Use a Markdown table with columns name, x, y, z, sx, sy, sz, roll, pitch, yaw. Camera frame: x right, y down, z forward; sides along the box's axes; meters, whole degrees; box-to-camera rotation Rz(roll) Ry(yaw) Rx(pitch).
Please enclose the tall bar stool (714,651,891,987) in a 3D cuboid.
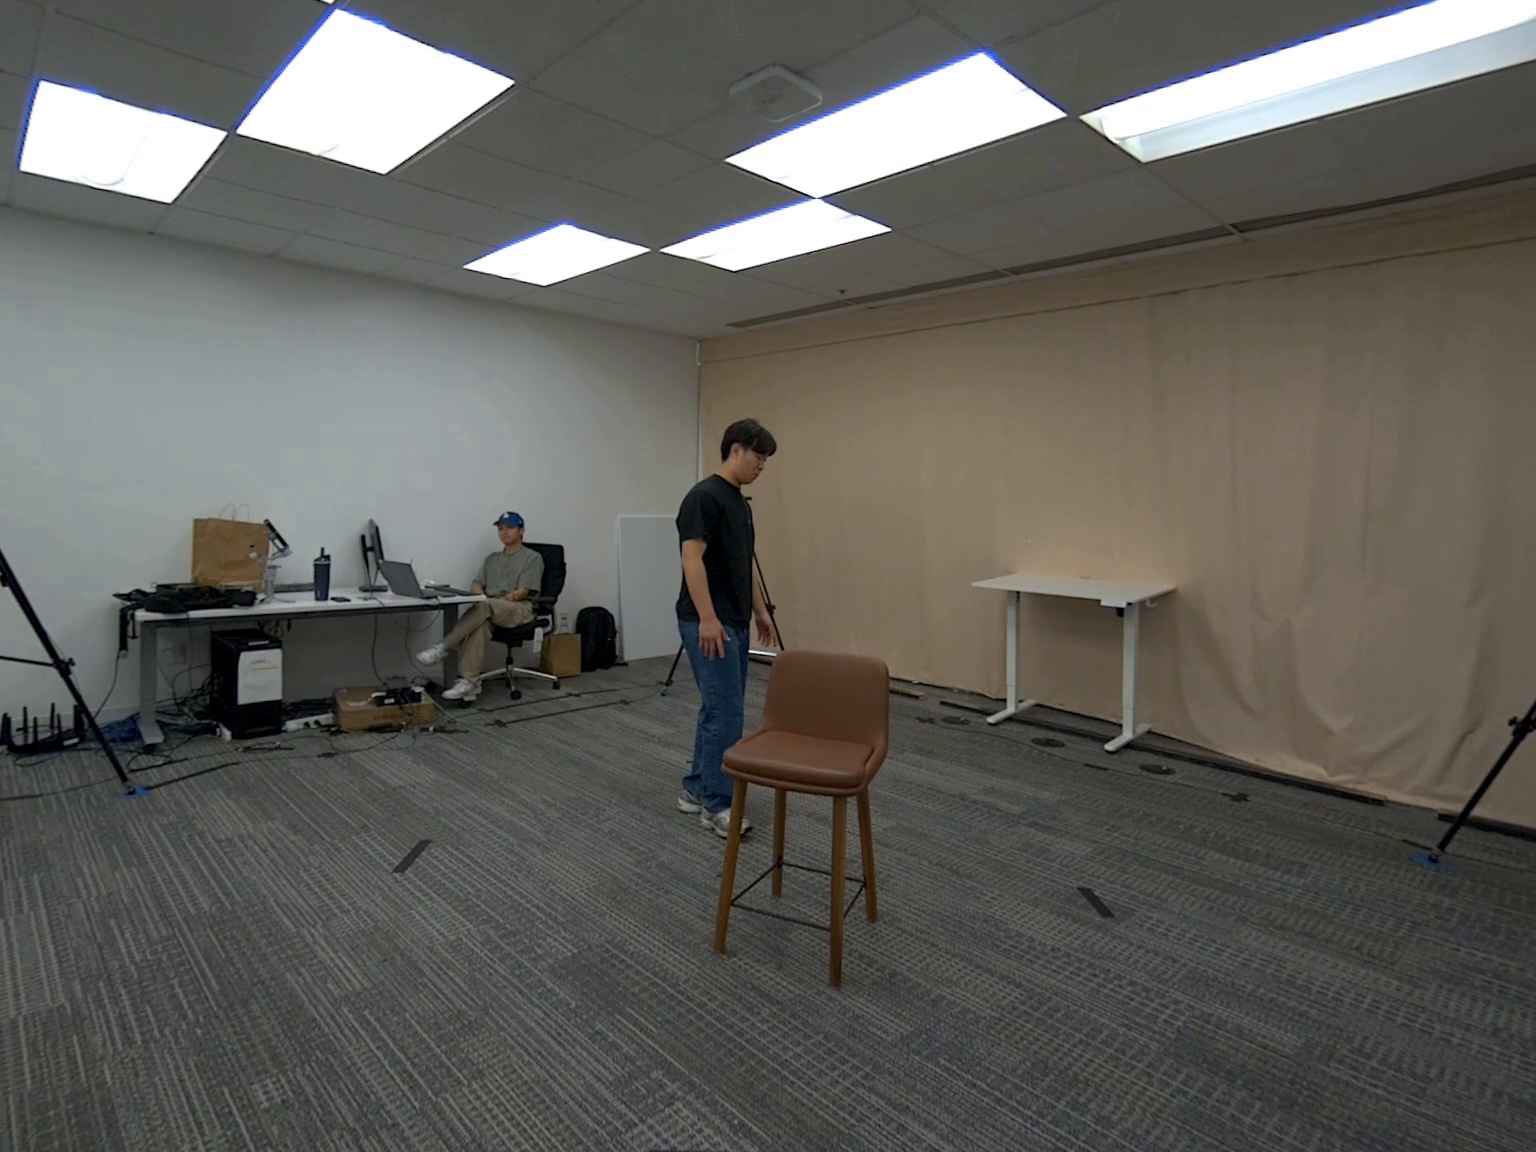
| name | x | y | z | sx | sy | sz | roll | pitch | yaw |
| --- | --- | --- | --- | --- | --- | --- | --- | --- | --- |
| tall bar stool | 0.127 | 0.720 | 2.660 | 0.465 | 0.888 | 0.459 | 4 | 3 | 25 |
